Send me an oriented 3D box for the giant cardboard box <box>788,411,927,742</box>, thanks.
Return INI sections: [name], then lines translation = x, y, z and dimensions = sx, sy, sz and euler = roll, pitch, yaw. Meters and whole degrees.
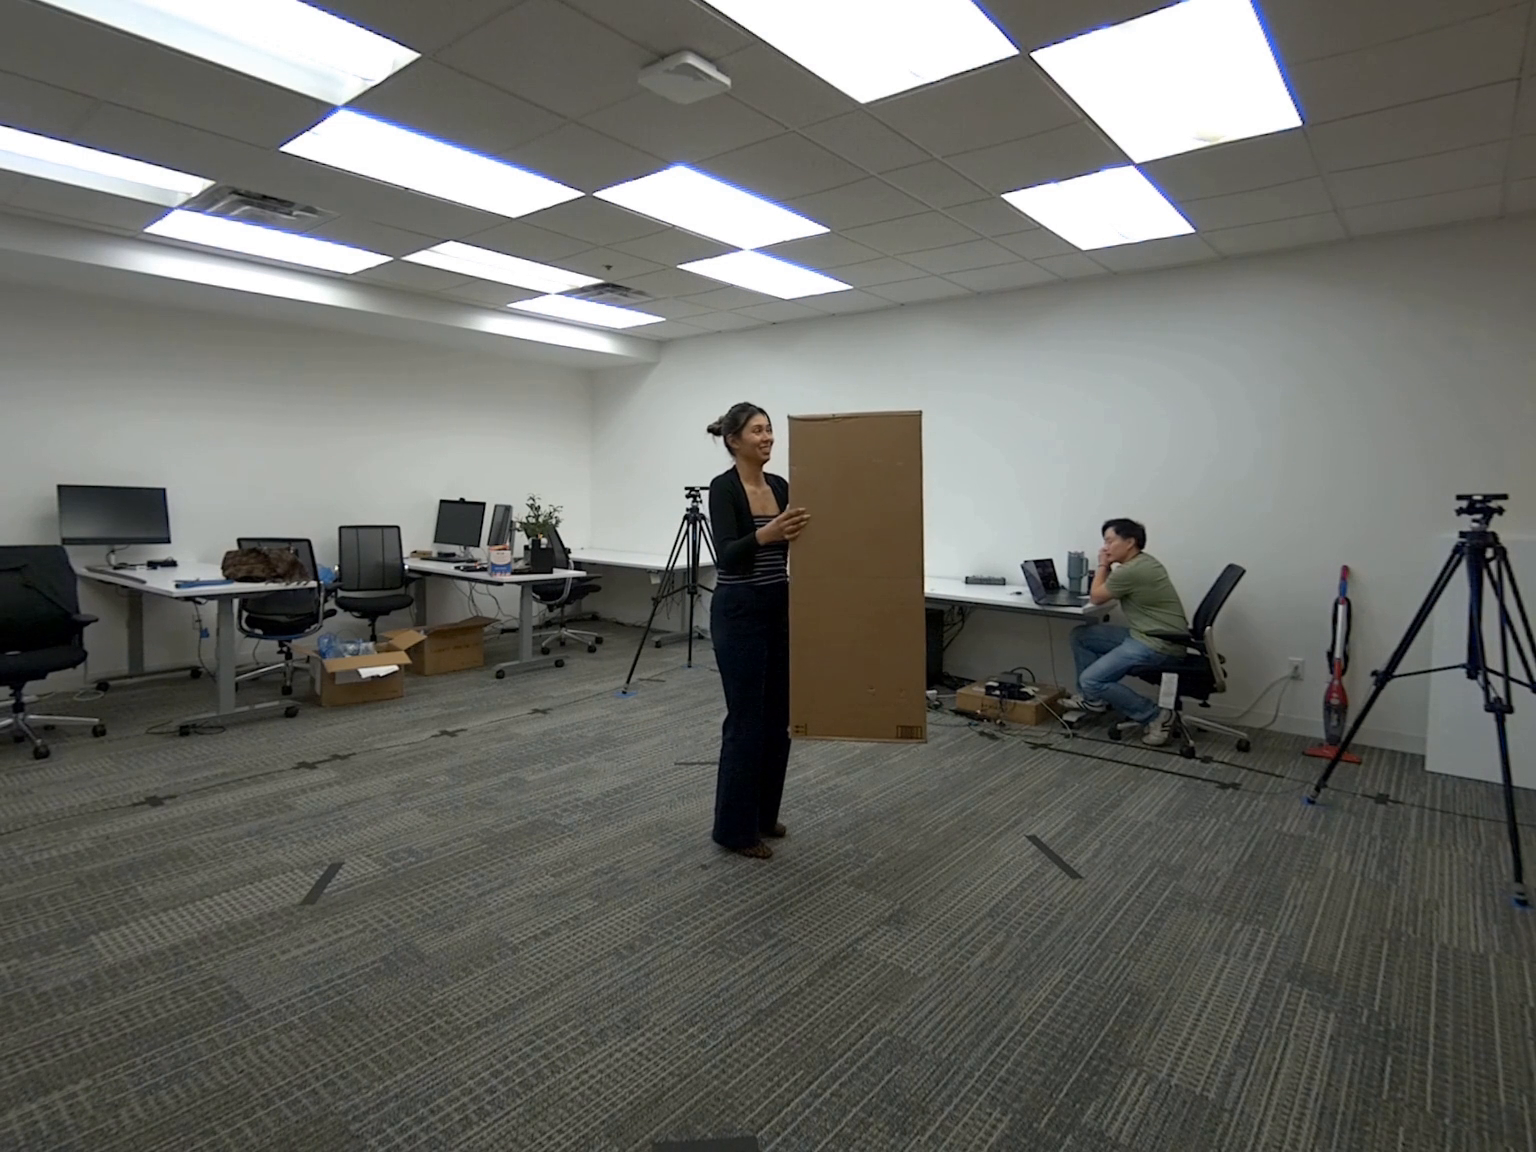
[giant cardboard box]
translation = 0.299, -0.001, 2.934
dimensions = 0.430, 1.029, 0.570
euler = -1, -3, 7
